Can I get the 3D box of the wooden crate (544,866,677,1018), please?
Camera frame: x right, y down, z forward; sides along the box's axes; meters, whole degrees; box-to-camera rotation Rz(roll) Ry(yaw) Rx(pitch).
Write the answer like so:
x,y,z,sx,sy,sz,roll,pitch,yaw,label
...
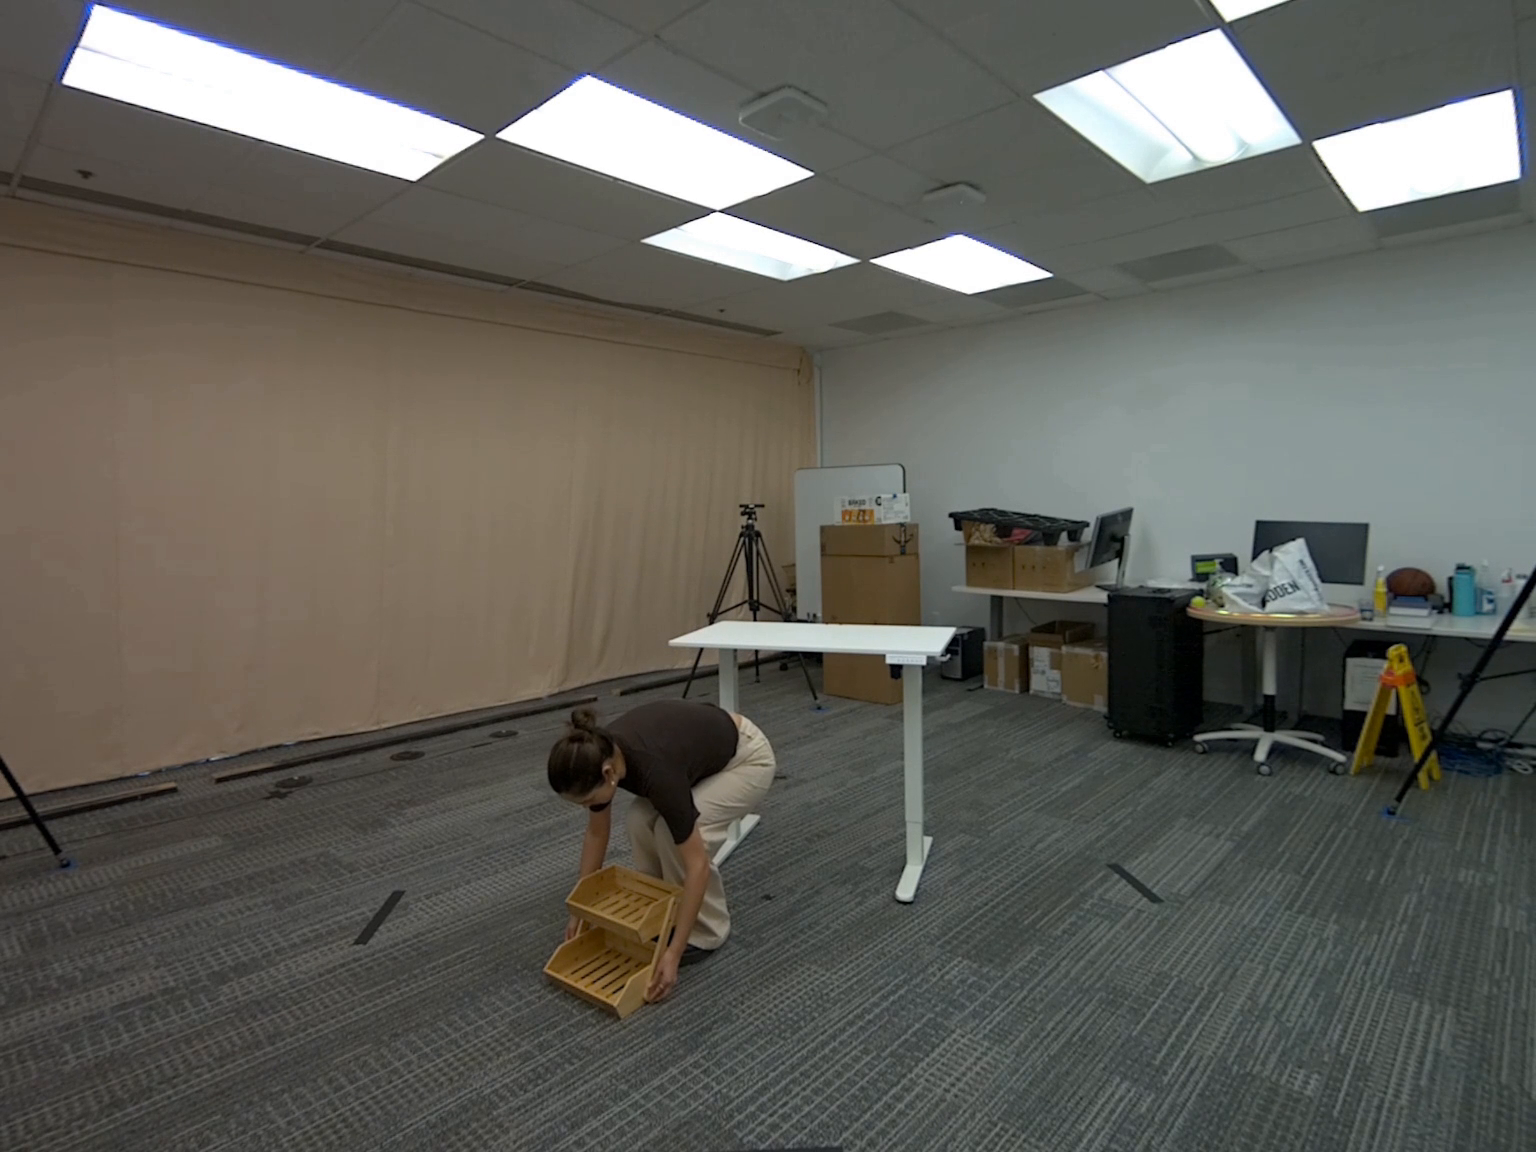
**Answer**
x,y,z,sx,sy,sz,roll,pitch,yaw,label
-0.447,1.058,2.478,0.335,0.273,0.293,2,5,36,wooden crate
